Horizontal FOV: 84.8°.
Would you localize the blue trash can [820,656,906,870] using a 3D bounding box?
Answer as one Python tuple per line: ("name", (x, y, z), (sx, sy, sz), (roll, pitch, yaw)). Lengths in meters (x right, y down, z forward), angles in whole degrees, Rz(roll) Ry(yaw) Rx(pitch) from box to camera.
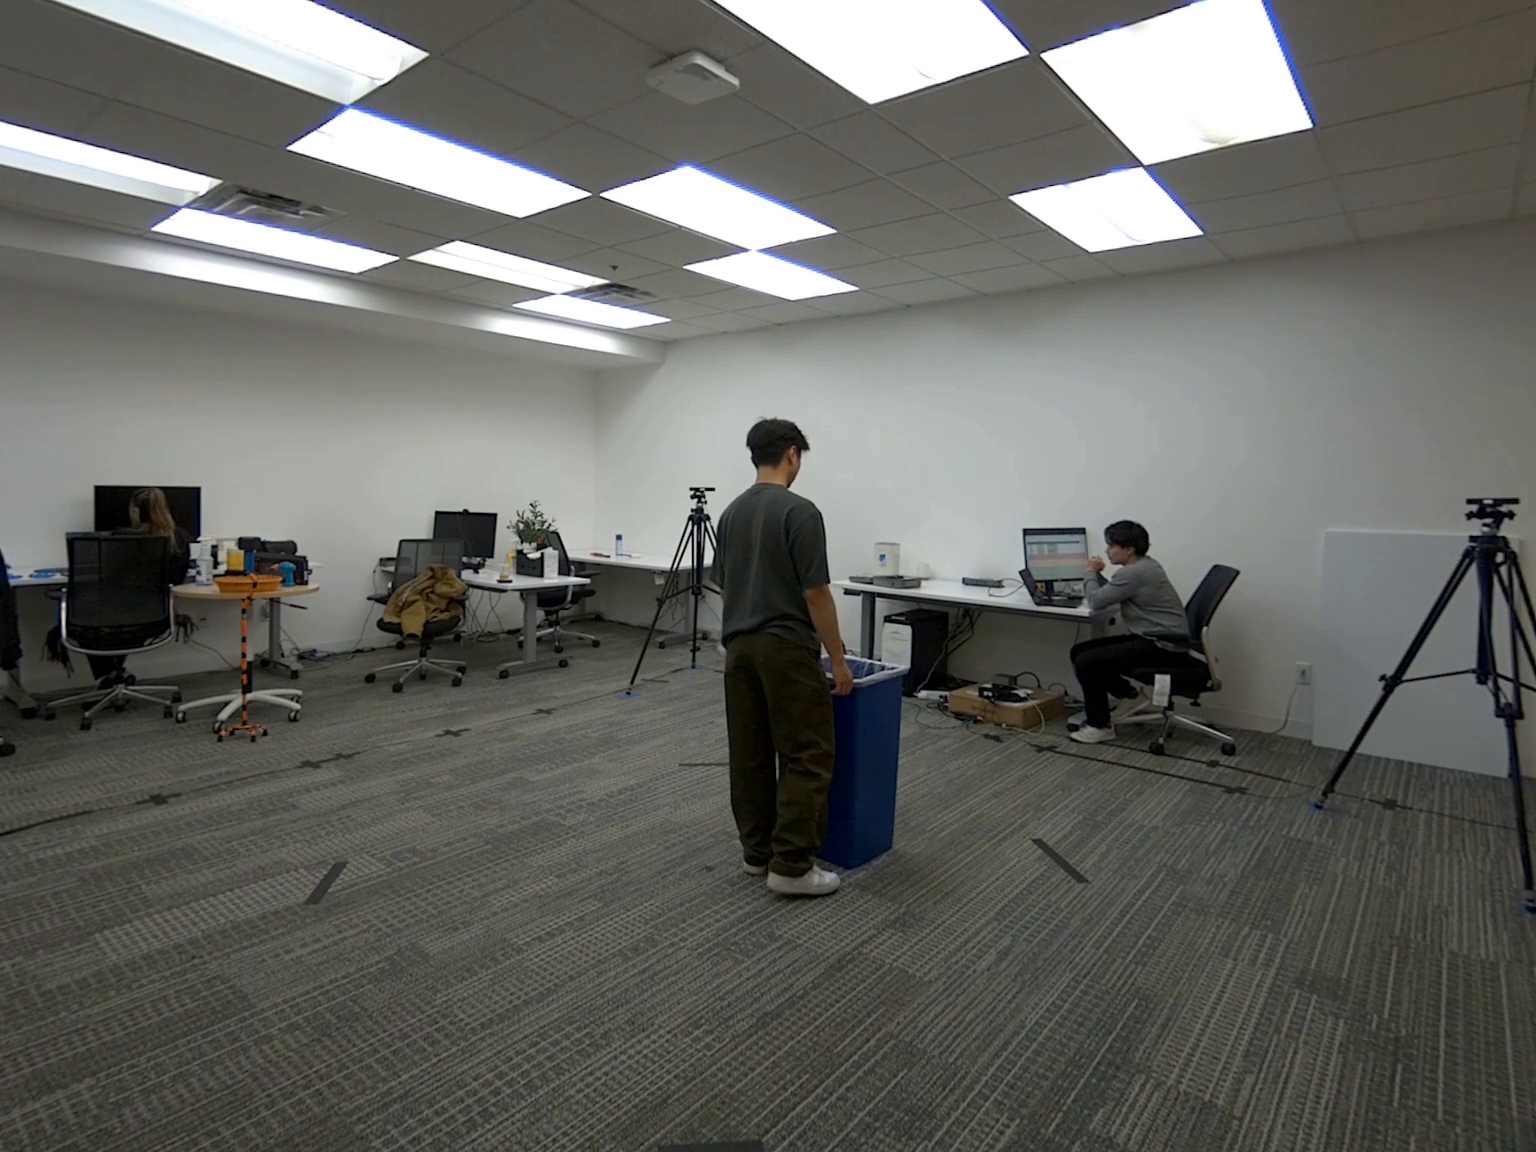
("blue trash can", (0.284, 0.701, 3.303), (0.391, 0.712, 0.363), (4, 3, 40))
